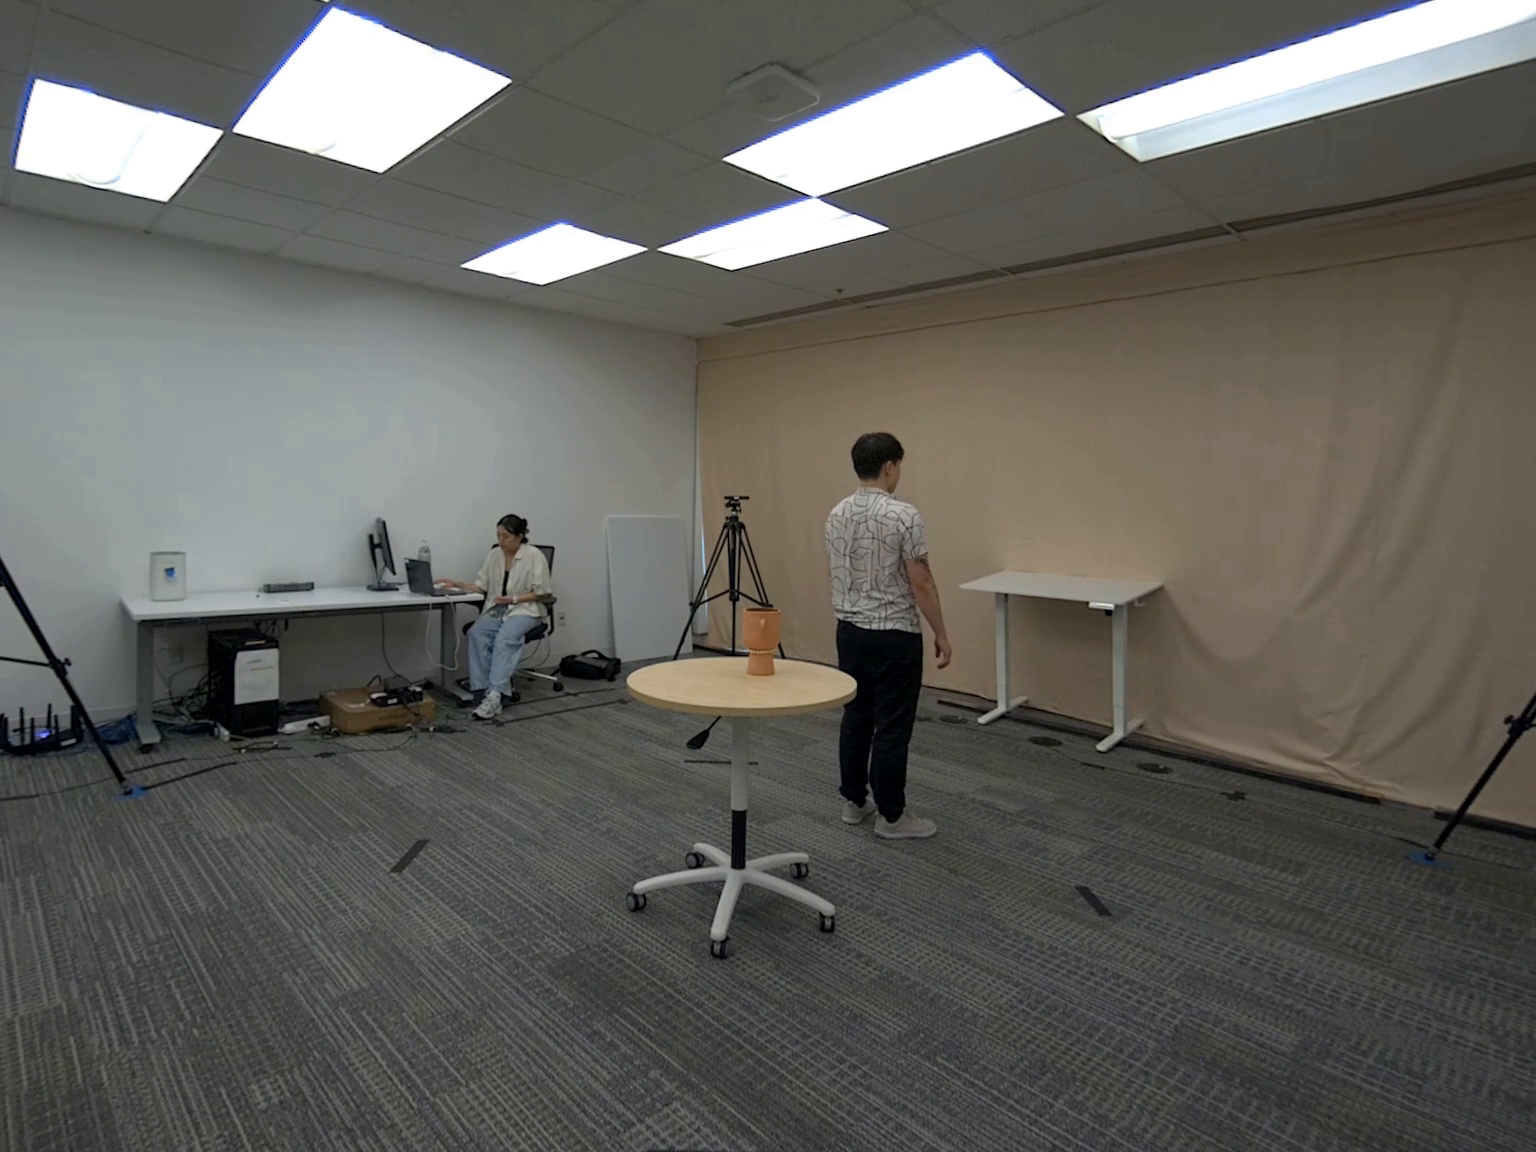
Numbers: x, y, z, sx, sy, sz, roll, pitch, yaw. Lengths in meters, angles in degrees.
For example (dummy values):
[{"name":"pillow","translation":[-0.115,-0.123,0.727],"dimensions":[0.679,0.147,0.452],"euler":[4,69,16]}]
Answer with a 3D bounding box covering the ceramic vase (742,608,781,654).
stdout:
[{"name":"ceramic vase","translation":[-0.029,0.230,2.911],"dimensions":[0.138,0.219,0.155],"euler":[5,6,37]}]
